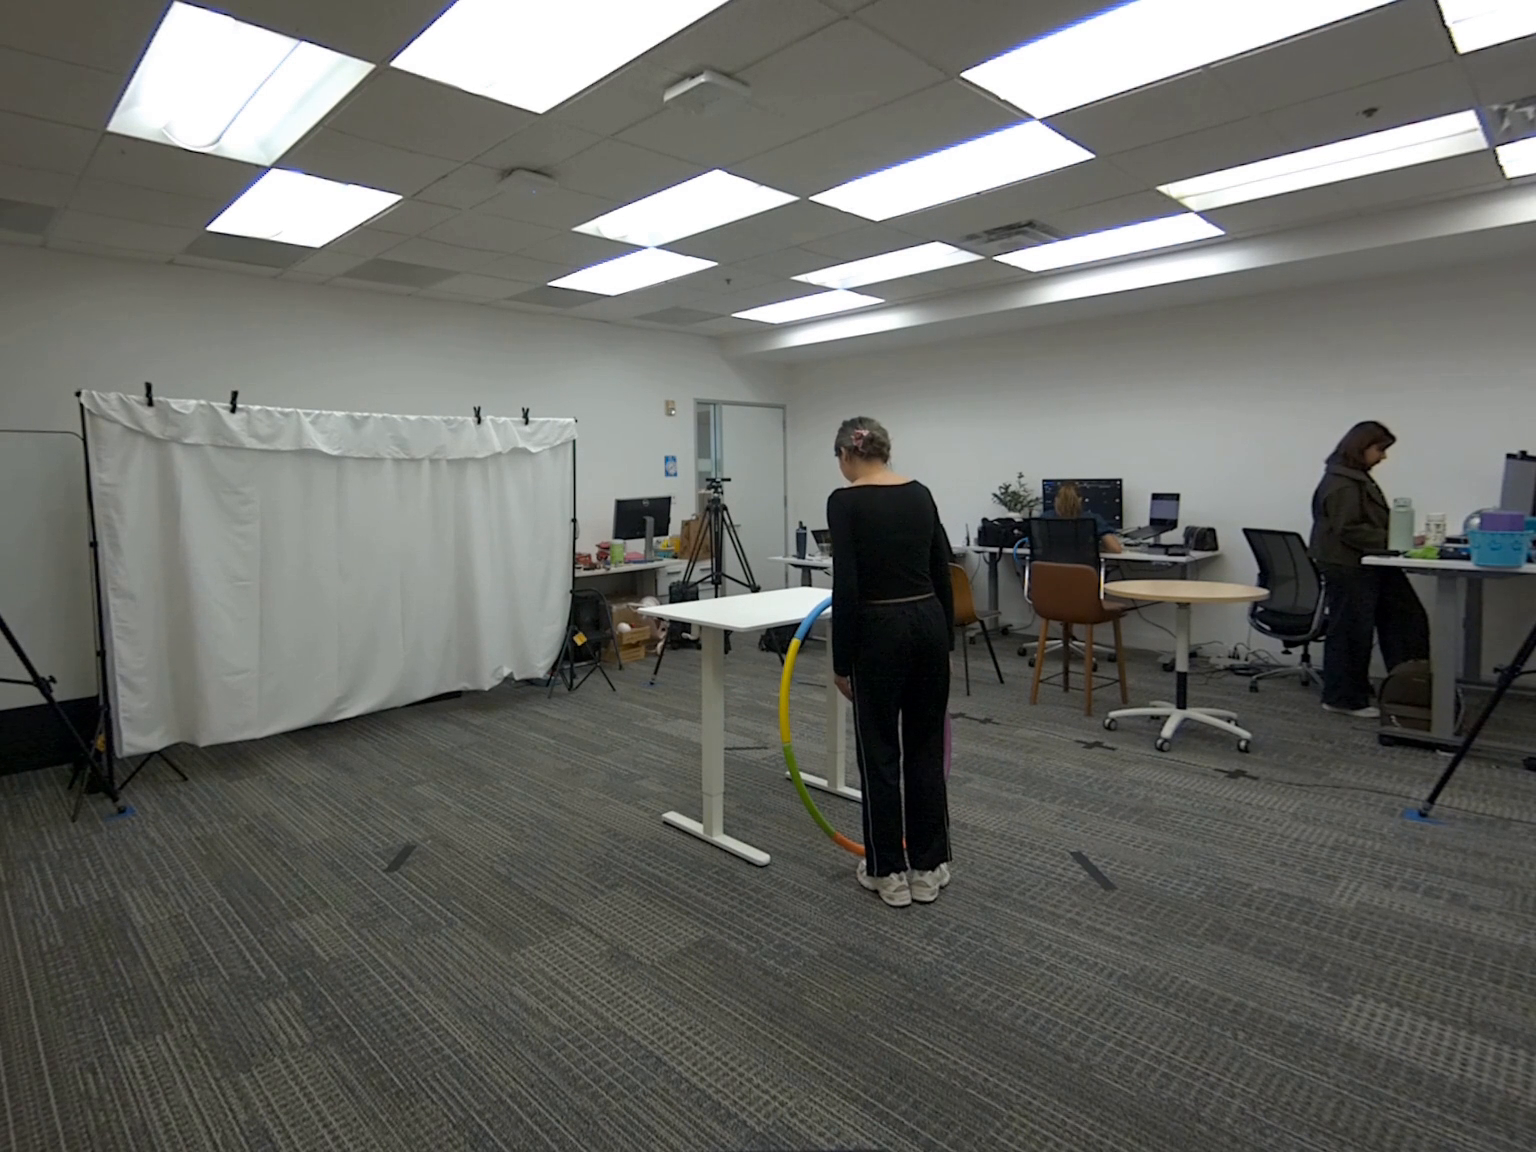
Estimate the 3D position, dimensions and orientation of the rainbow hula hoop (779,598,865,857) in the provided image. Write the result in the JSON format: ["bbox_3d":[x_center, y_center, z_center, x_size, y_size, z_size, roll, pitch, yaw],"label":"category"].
[{"bbox_3d":[0.399,0.548,3.244,0.953,0.987,0.036,-6,-10,-44],"label":"rainbow hula hoop"}]
